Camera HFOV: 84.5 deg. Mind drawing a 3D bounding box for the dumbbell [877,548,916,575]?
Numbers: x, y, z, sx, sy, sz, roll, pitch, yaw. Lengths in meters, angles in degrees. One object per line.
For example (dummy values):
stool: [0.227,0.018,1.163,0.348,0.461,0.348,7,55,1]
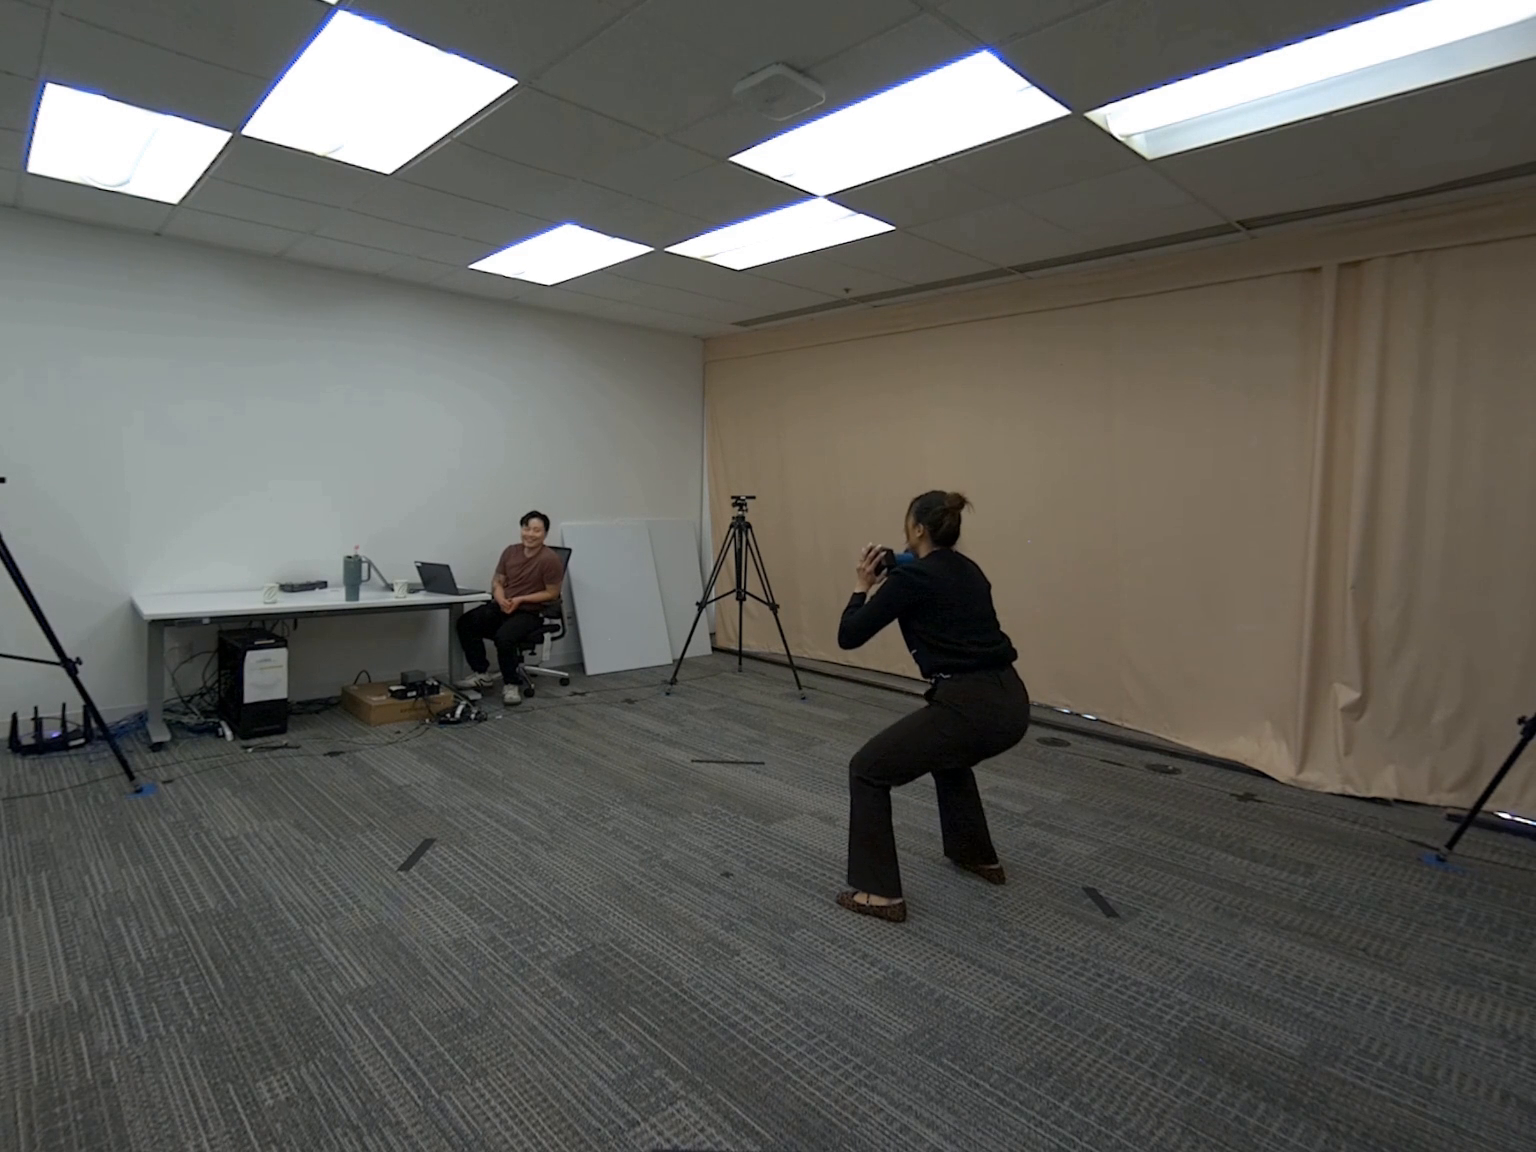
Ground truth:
dumbbell: [0.497,-0.053,3.142,0.287,0.122,0.112,-3,45,-39]
